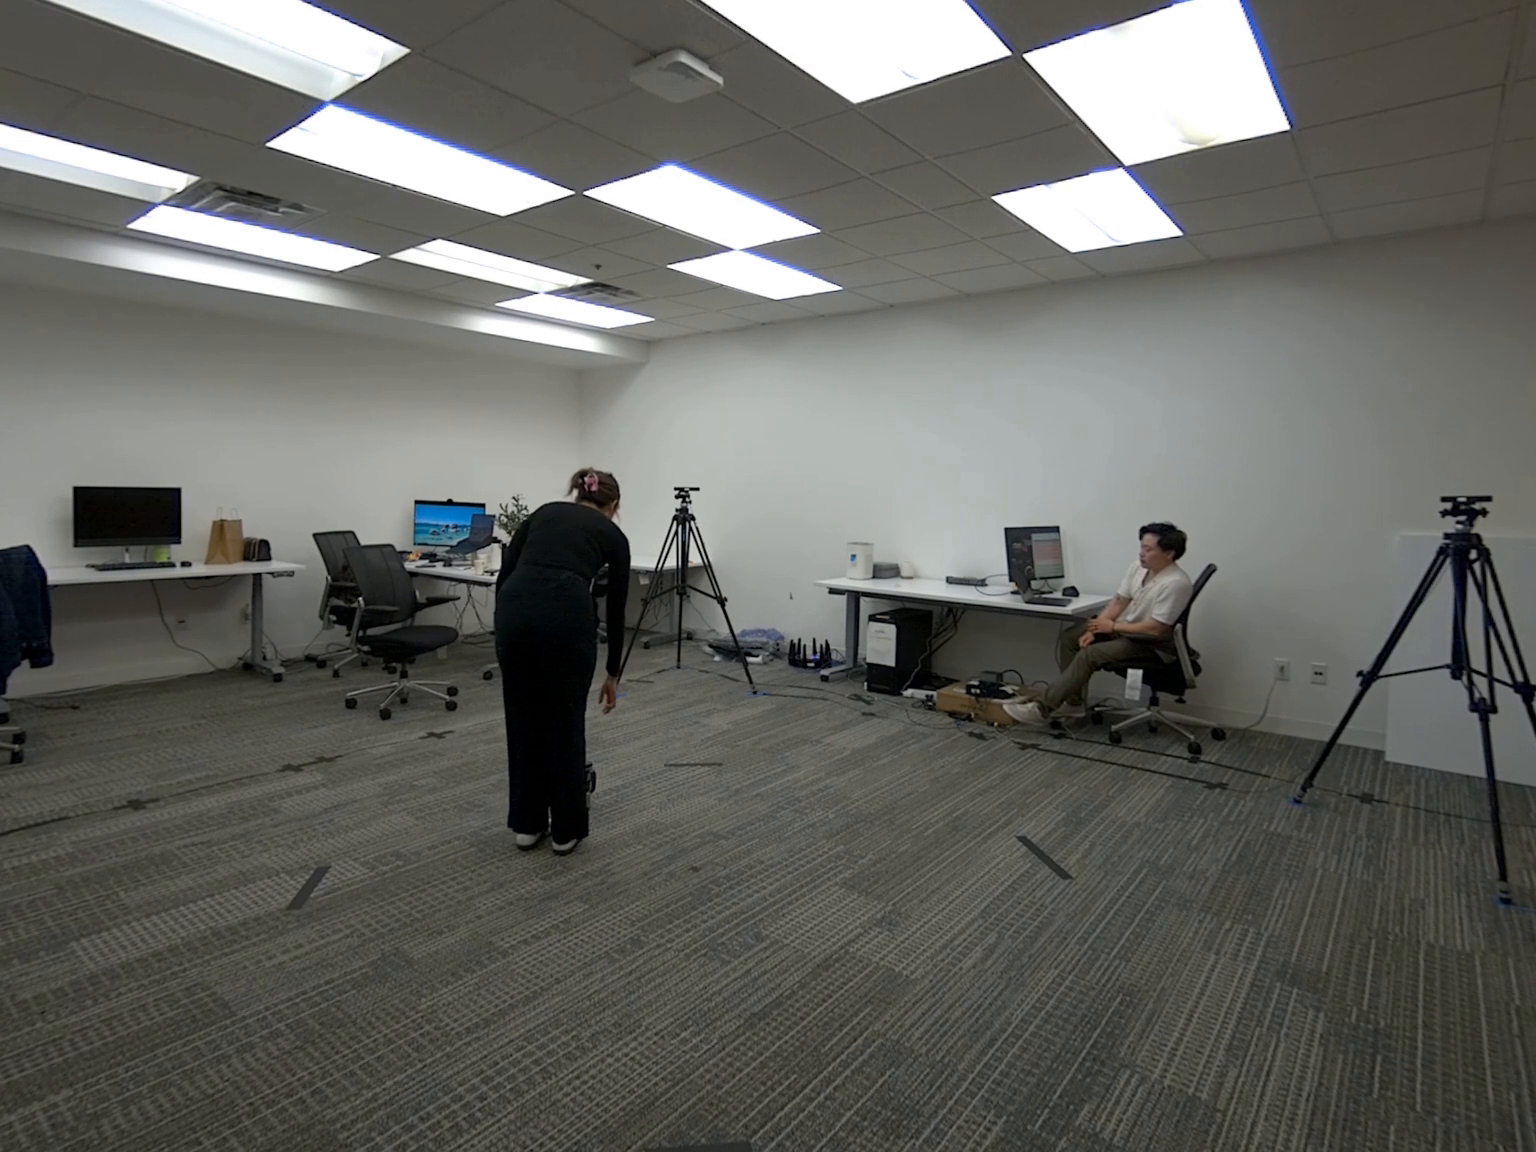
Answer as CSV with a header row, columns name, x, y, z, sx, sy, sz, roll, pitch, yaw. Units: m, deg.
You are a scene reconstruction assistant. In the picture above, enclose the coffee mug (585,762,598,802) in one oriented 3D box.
name,x,y,z,sx,sy,sz,roll,pitch,yaw
coffee mug,-0.803,0.904,3.644,0.086,0.203,0.125,2,-2,-26
